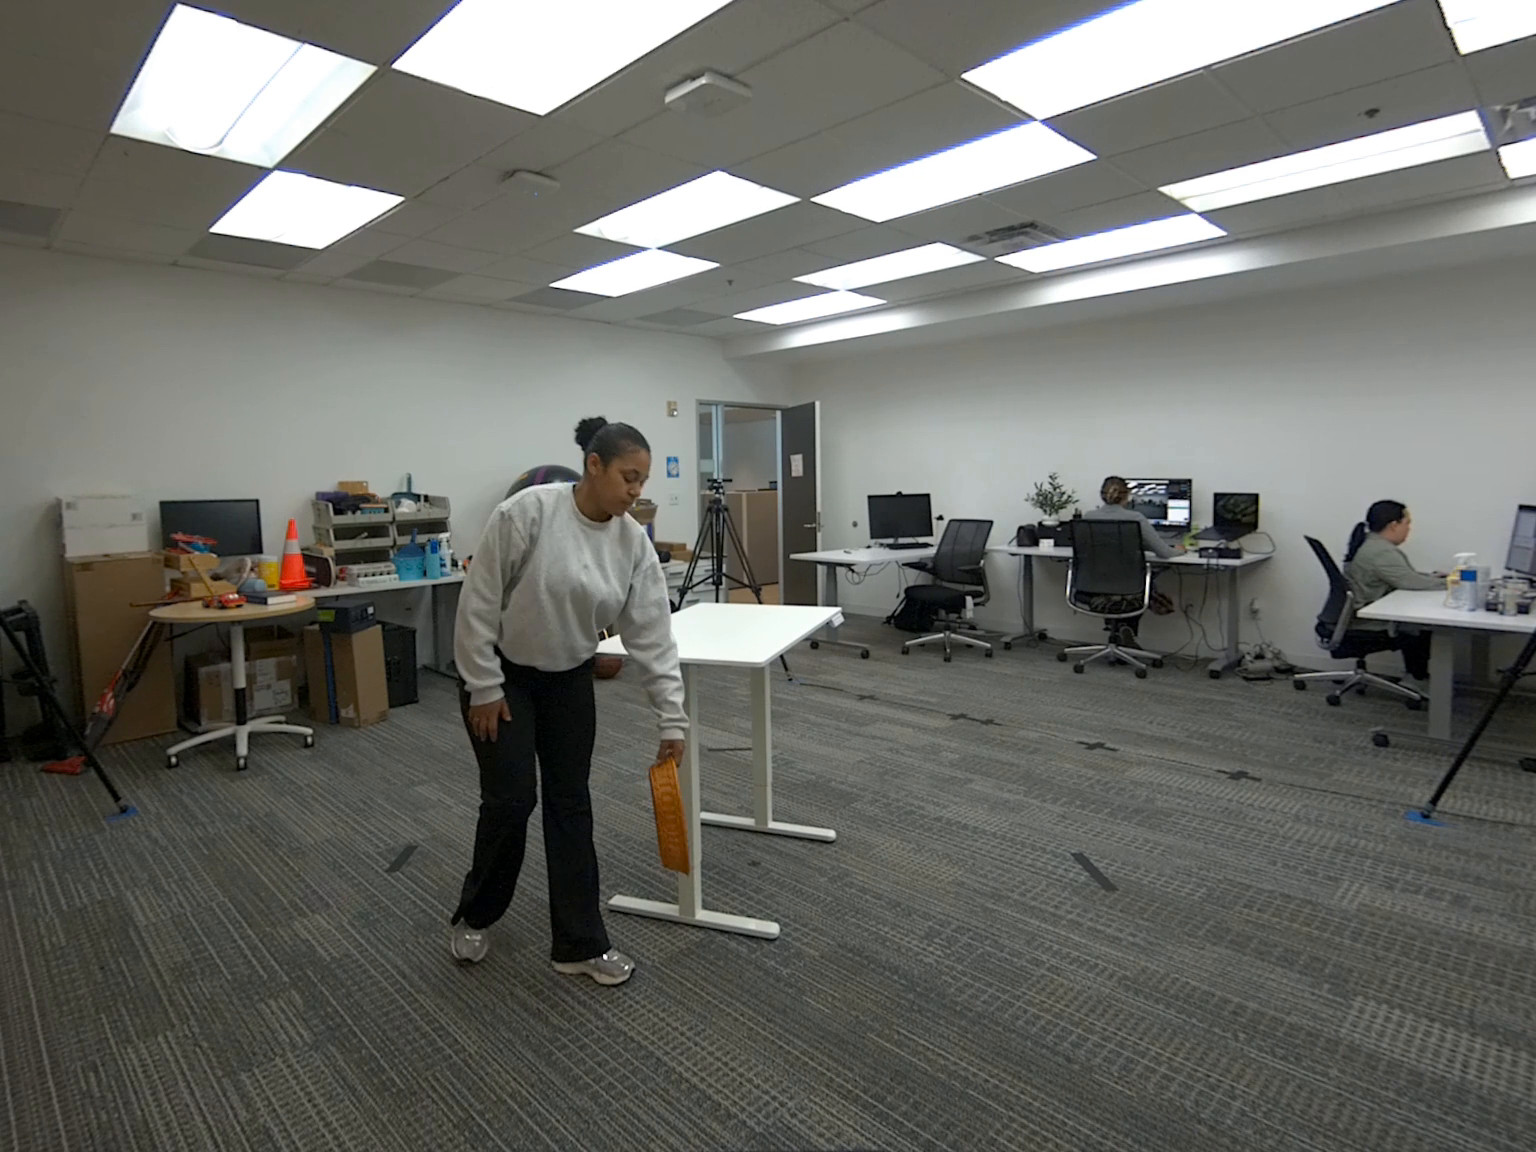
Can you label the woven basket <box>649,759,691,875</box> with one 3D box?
[{"bbox_3d":[-0.278,0.664,2.421,0.073,0.350,0.254,-8,2,-7],"label":"woven basket"}]
